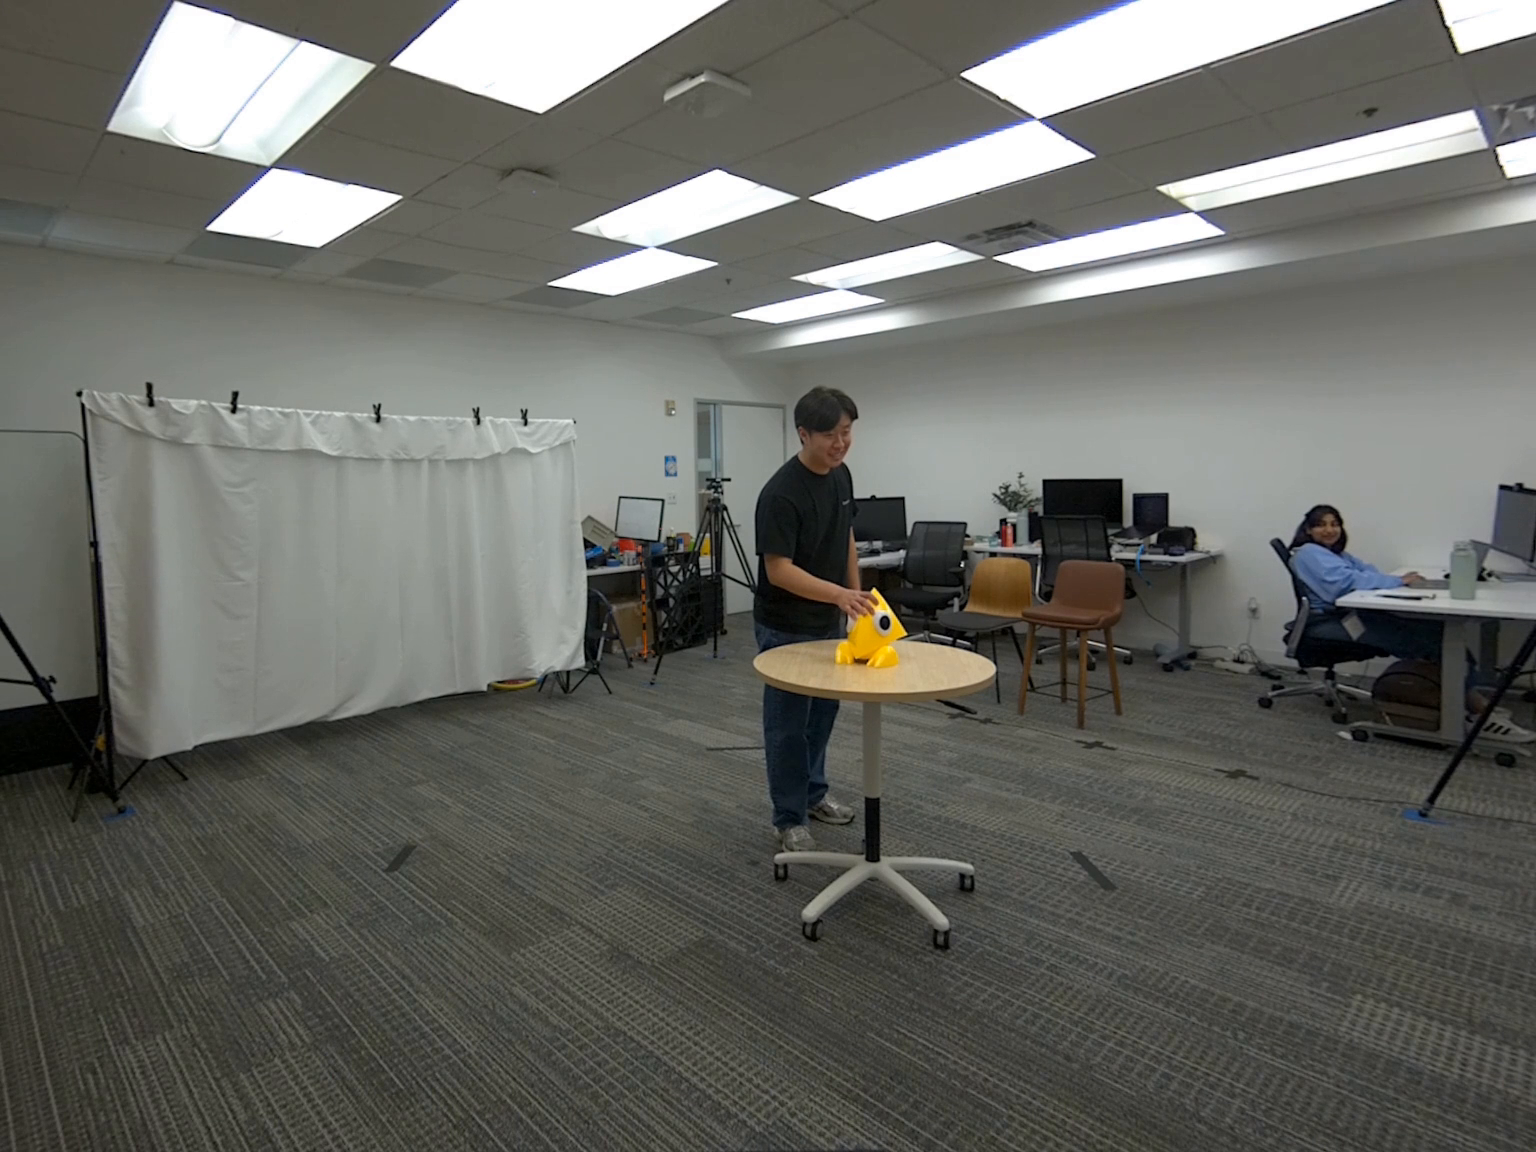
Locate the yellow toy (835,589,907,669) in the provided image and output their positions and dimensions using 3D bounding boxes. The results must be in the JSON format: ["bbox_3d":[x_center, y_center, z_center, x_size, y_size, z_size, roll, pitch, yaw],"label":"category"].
[{"bbox_3d":[0.324,0.167,2.773,0.210,0.230,0.189,3,6,30],"label":"yellow toy"}]
